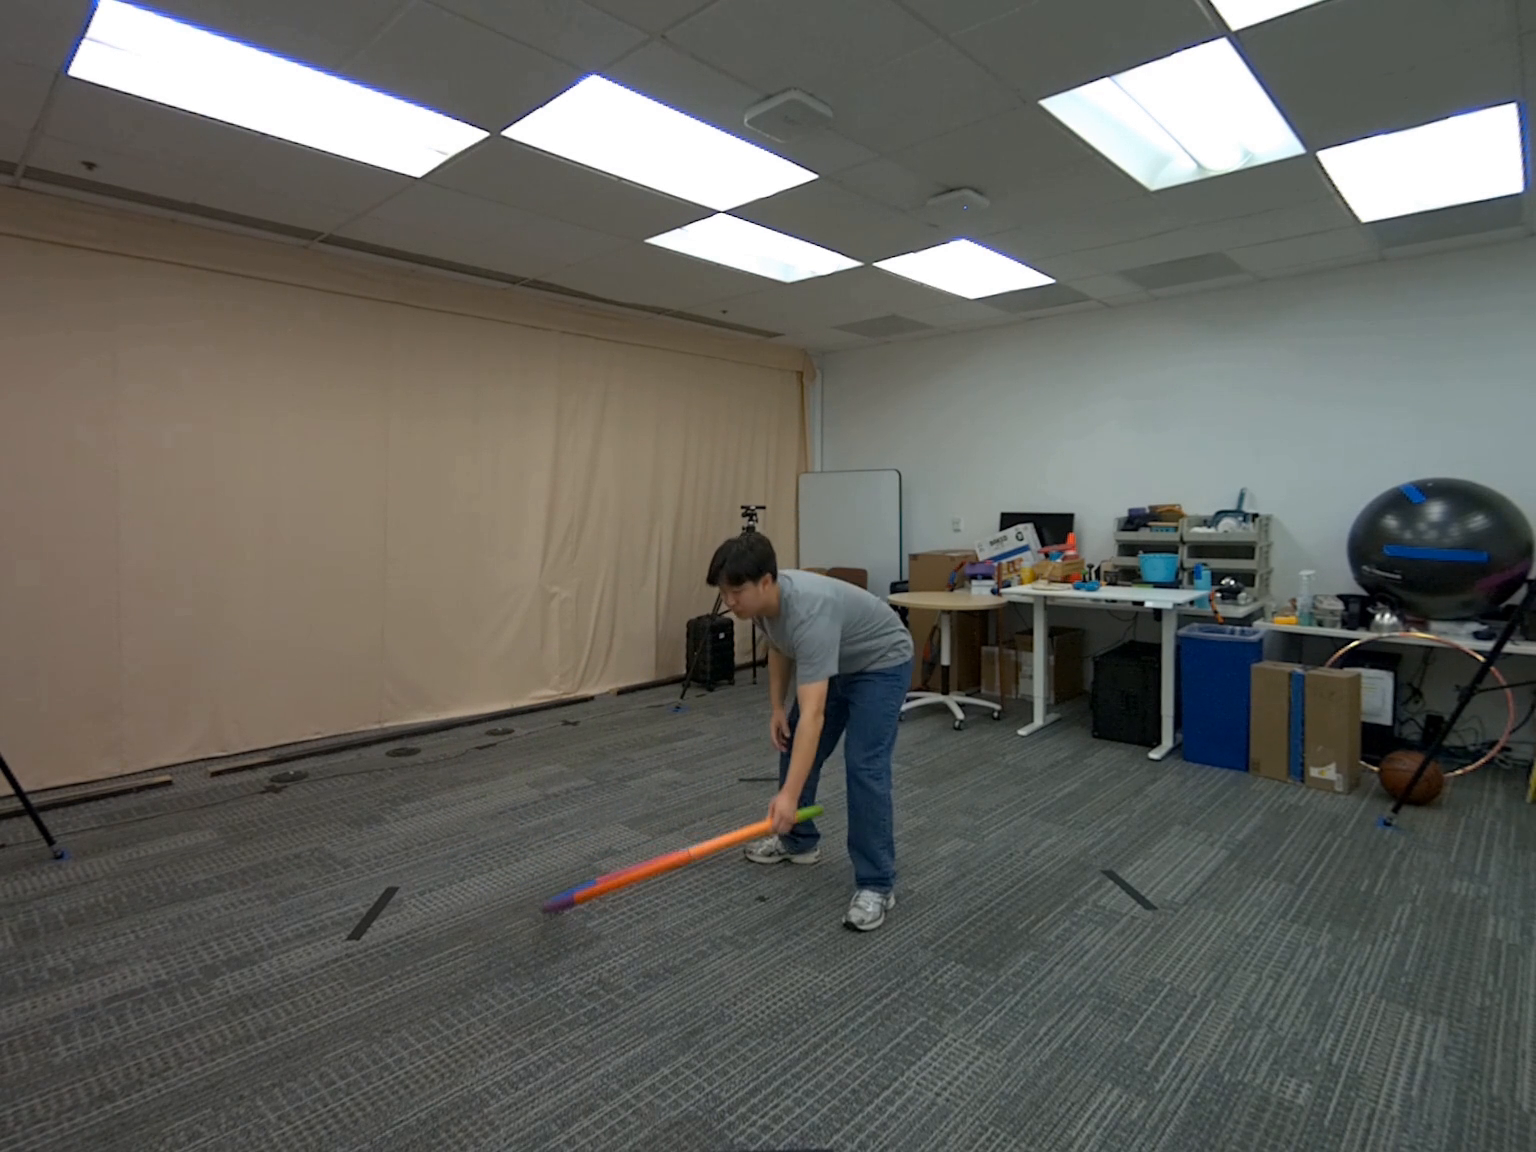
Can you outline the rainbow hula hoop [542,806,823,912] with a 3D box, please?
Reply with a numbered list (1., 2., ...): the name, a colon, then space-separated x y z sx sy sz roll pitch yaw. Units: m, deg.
1. rainbow hula hoop: -0.293 0.926 2.812 0.973 0.036 0.969 -17 -15 -7
